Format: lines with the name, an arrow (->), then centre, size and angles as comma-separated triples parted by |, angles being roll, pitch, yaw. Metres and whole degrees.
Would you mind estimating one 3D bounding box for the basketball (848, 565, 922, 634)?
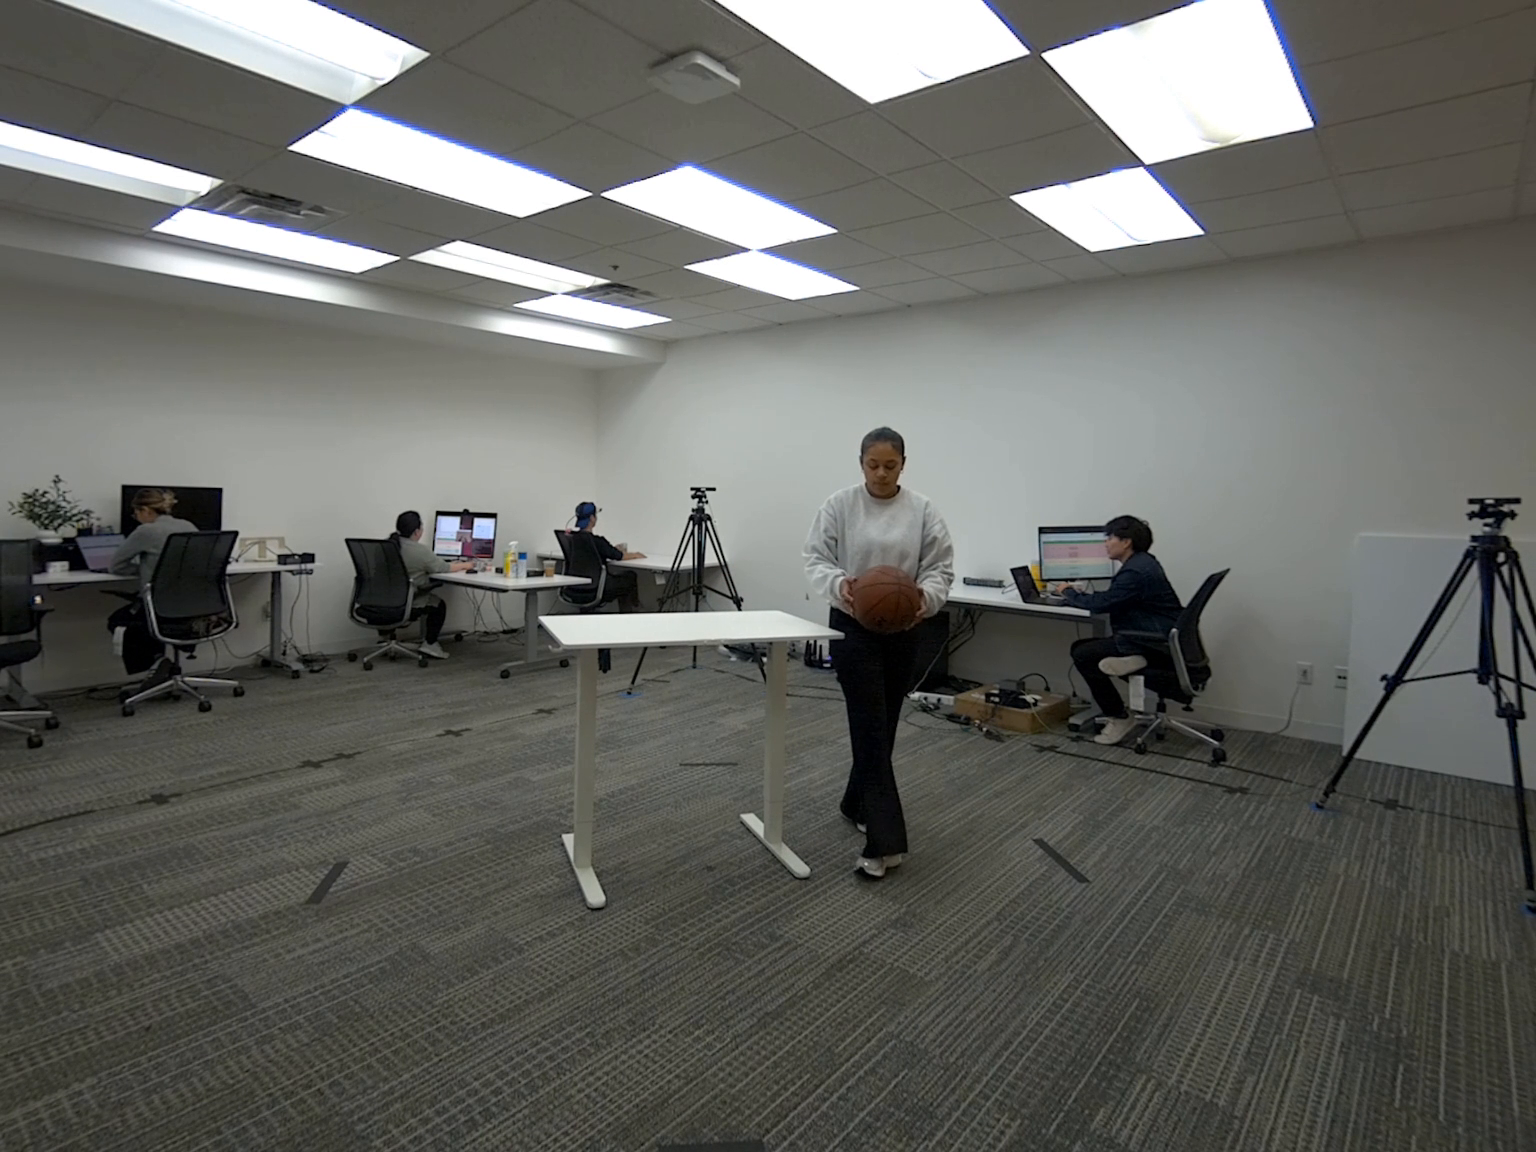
basketball -> 0.391, 0.086, 2.976 | 0.235, 0.235, 0.237 | 1, 4, -2
